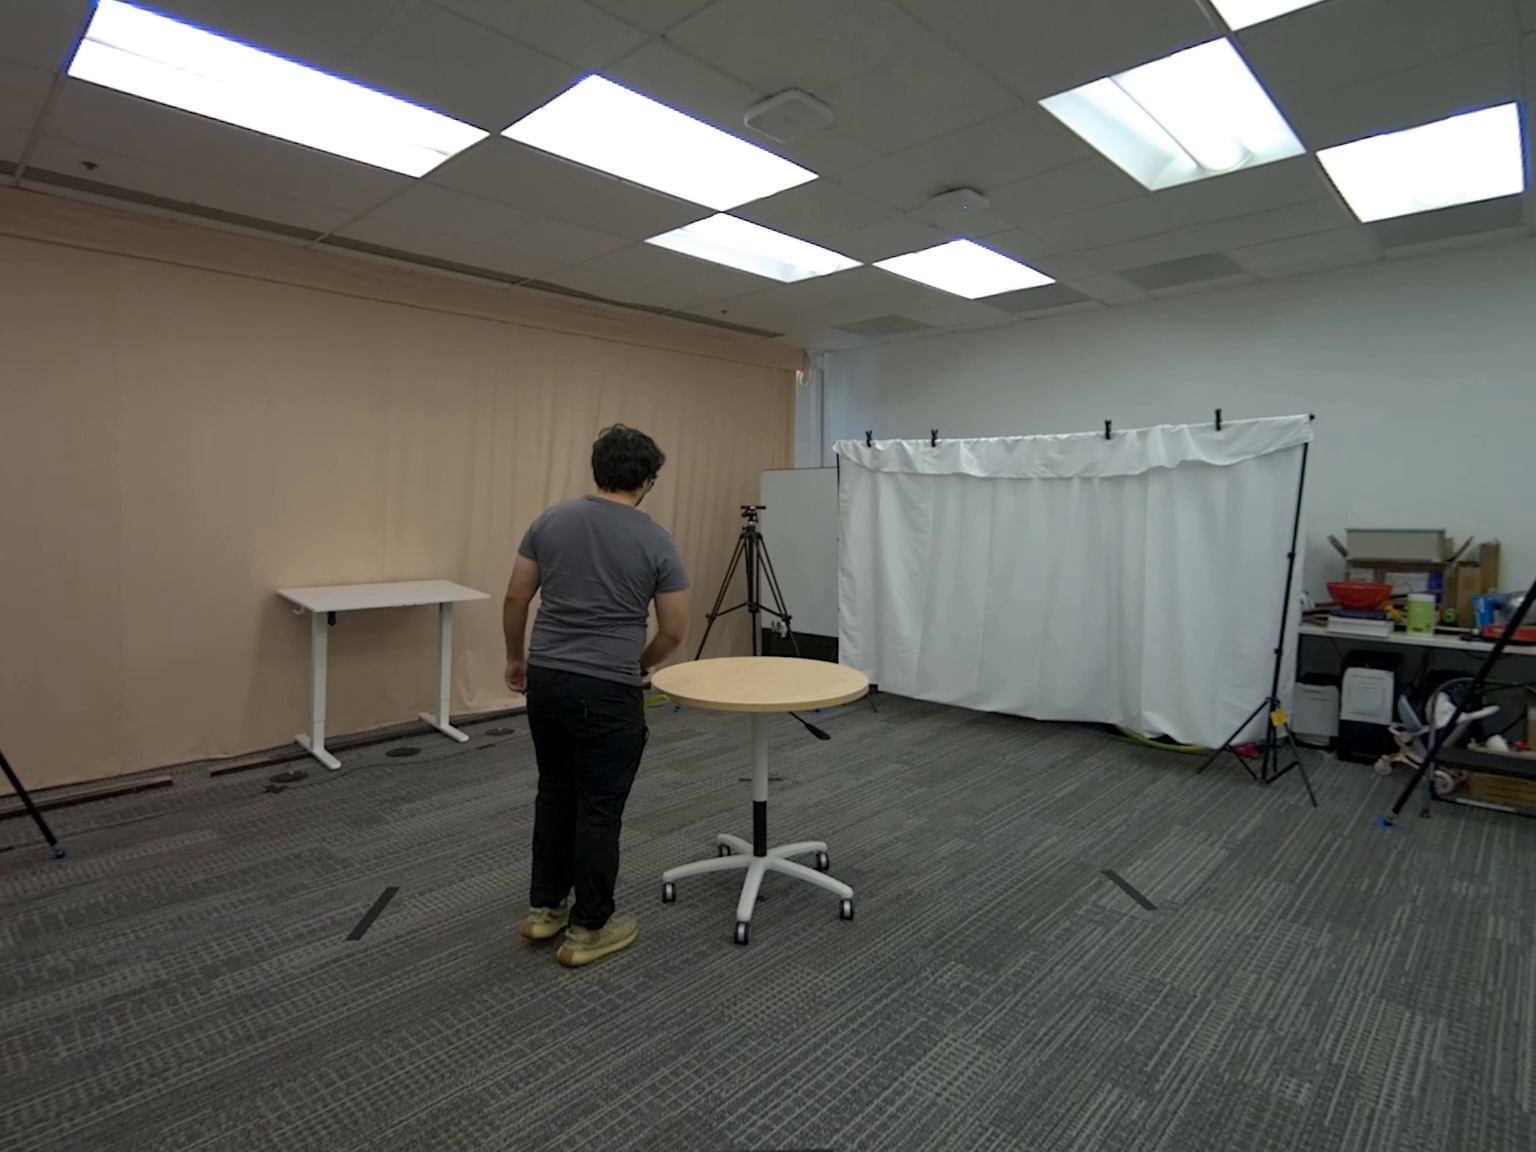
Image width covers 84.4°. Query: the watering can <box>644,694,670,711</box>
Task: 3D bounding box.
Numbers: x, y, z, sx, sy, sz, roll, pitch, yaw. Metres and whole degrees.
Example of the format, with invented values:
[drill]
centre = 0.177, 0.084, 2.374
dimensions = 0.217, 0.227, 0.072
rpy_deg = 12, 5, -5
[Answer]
[watering can]
centre = -0.470, 0.418, 2.819
dimensions = 0.288, 0.177, 0.094
rpy_deg = 21, -5, 45
